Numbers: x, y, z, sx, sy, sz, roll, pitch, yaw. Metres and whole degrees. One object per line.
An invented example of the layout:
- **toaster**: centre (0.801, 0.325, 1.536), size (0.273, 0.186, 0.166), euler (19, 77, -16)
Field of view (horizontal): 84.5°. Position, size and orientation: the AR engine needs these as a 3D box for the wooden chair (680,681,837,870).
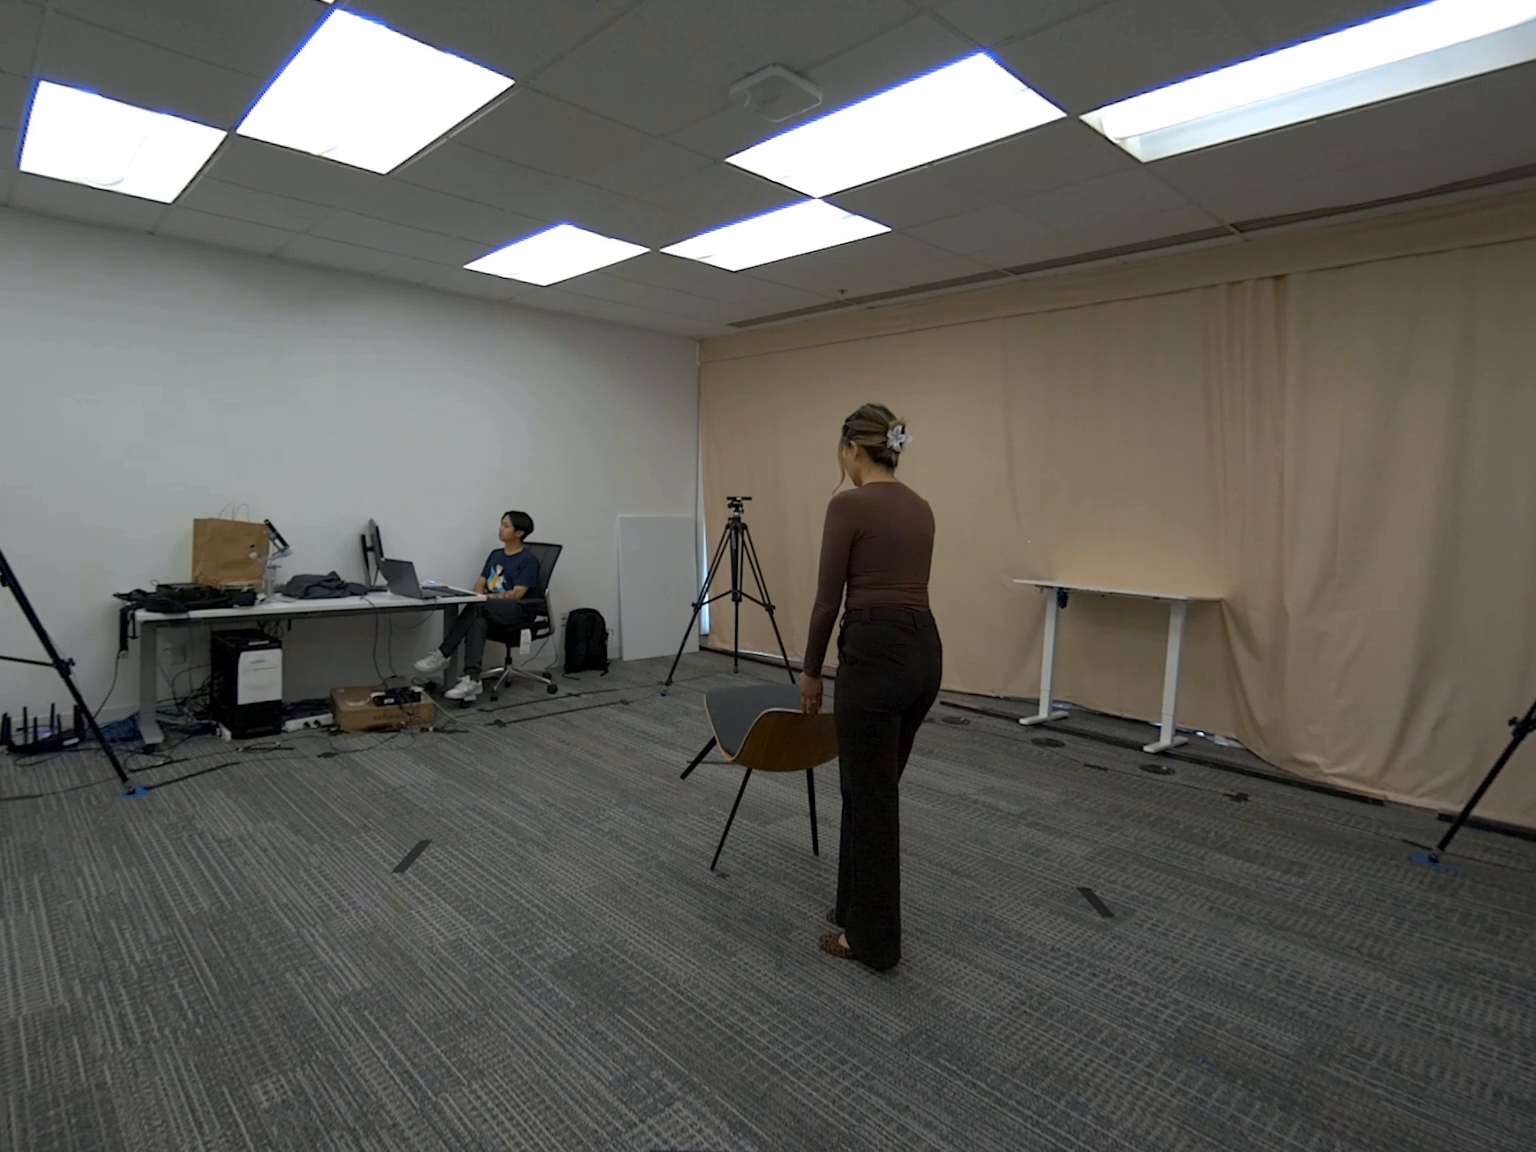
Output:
- **wooden chair**: centre (0.006, 0.615, 3.179), size (0.470, 0.865, 0.539), euler (0, 39, -22)
